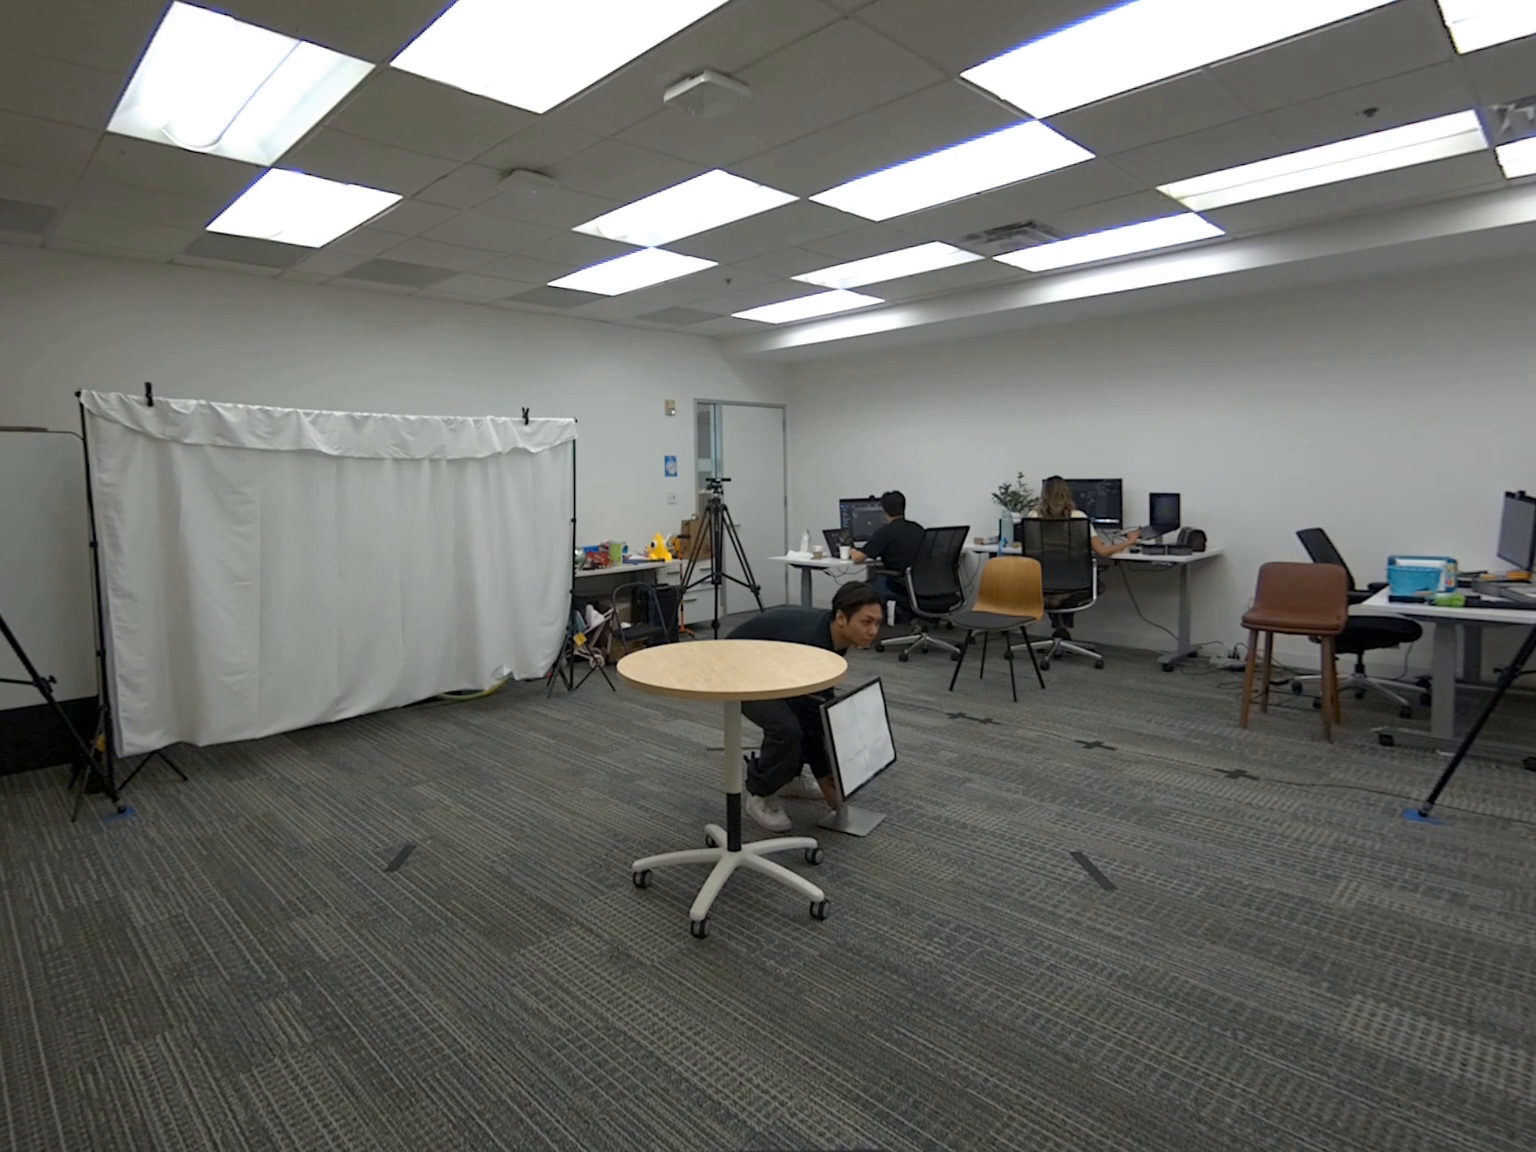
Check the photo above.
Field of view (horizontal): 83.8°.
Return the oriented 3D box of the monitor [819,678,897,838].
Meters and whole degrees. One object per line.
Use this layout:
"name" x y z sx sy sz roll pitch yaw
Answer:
"monitor" 0.332 0.726 3.444 0.192 0.521 0.527 2 5 30
